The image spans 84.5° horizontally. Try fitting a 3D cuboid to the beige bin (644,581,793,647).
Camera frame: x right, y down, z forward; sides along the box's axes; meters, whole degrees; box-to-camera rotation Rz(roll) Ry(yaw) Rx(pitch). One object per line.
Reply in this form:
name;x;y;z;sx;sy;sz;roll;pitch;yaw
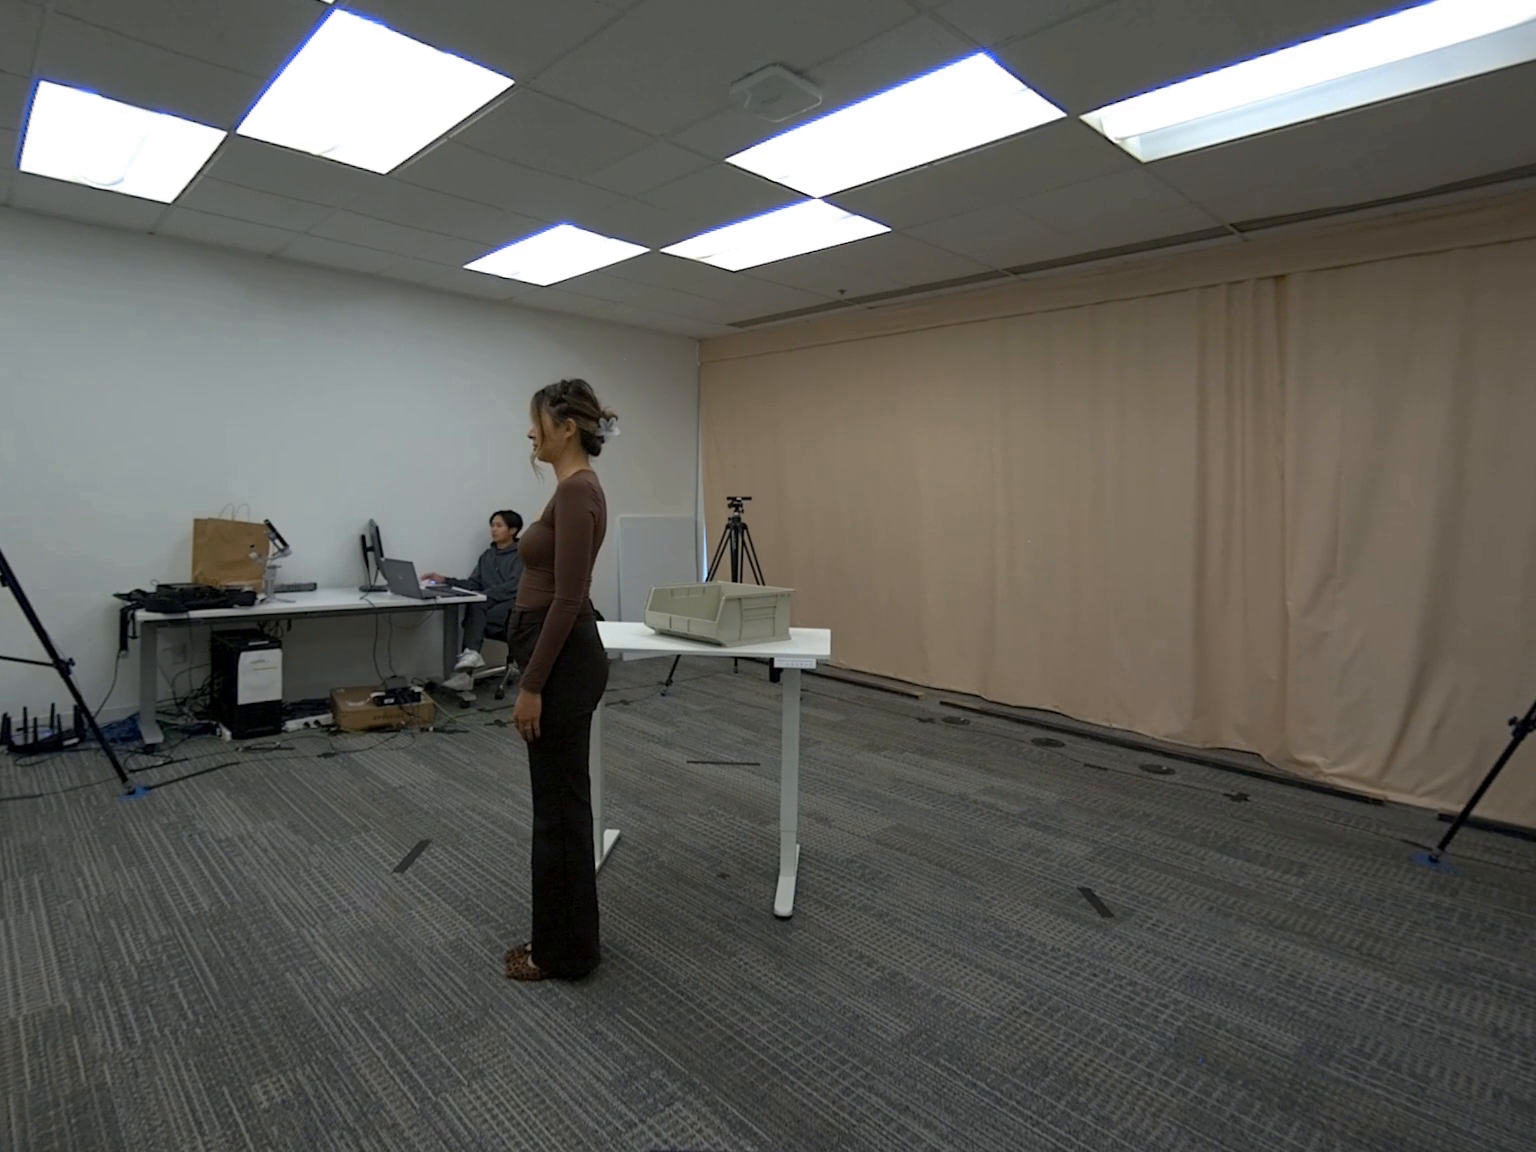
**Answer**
beige bin;-0.188;0.136;3.068;0.368;0.189;0.433;-1;4;-44
